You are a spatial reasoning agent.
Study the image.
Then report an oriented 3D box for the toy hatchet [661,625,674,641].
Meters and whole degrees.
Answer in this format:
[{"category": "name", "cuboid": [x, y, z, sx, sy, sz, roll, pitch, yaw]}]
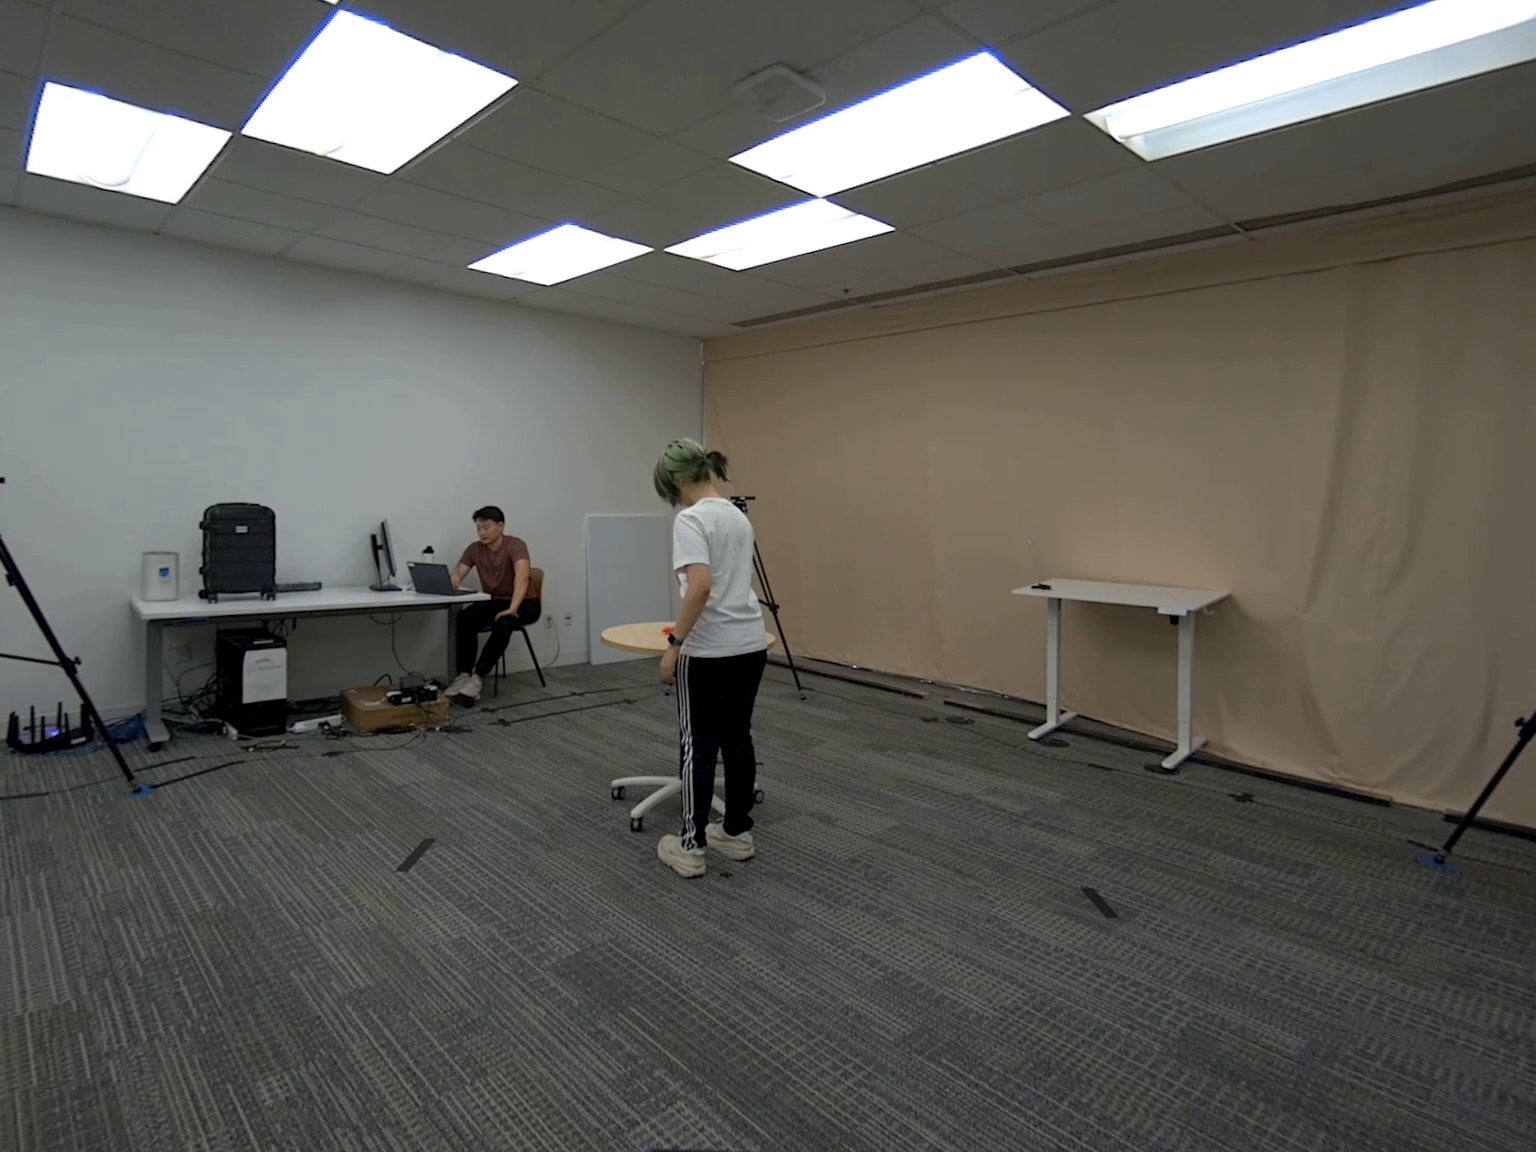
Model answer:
[{"category": "toy hatchet", "cuboid": [-0.326, 0.248, 3.705, 0.273, 0.029, 0.130, 6, 2, 12]}]
